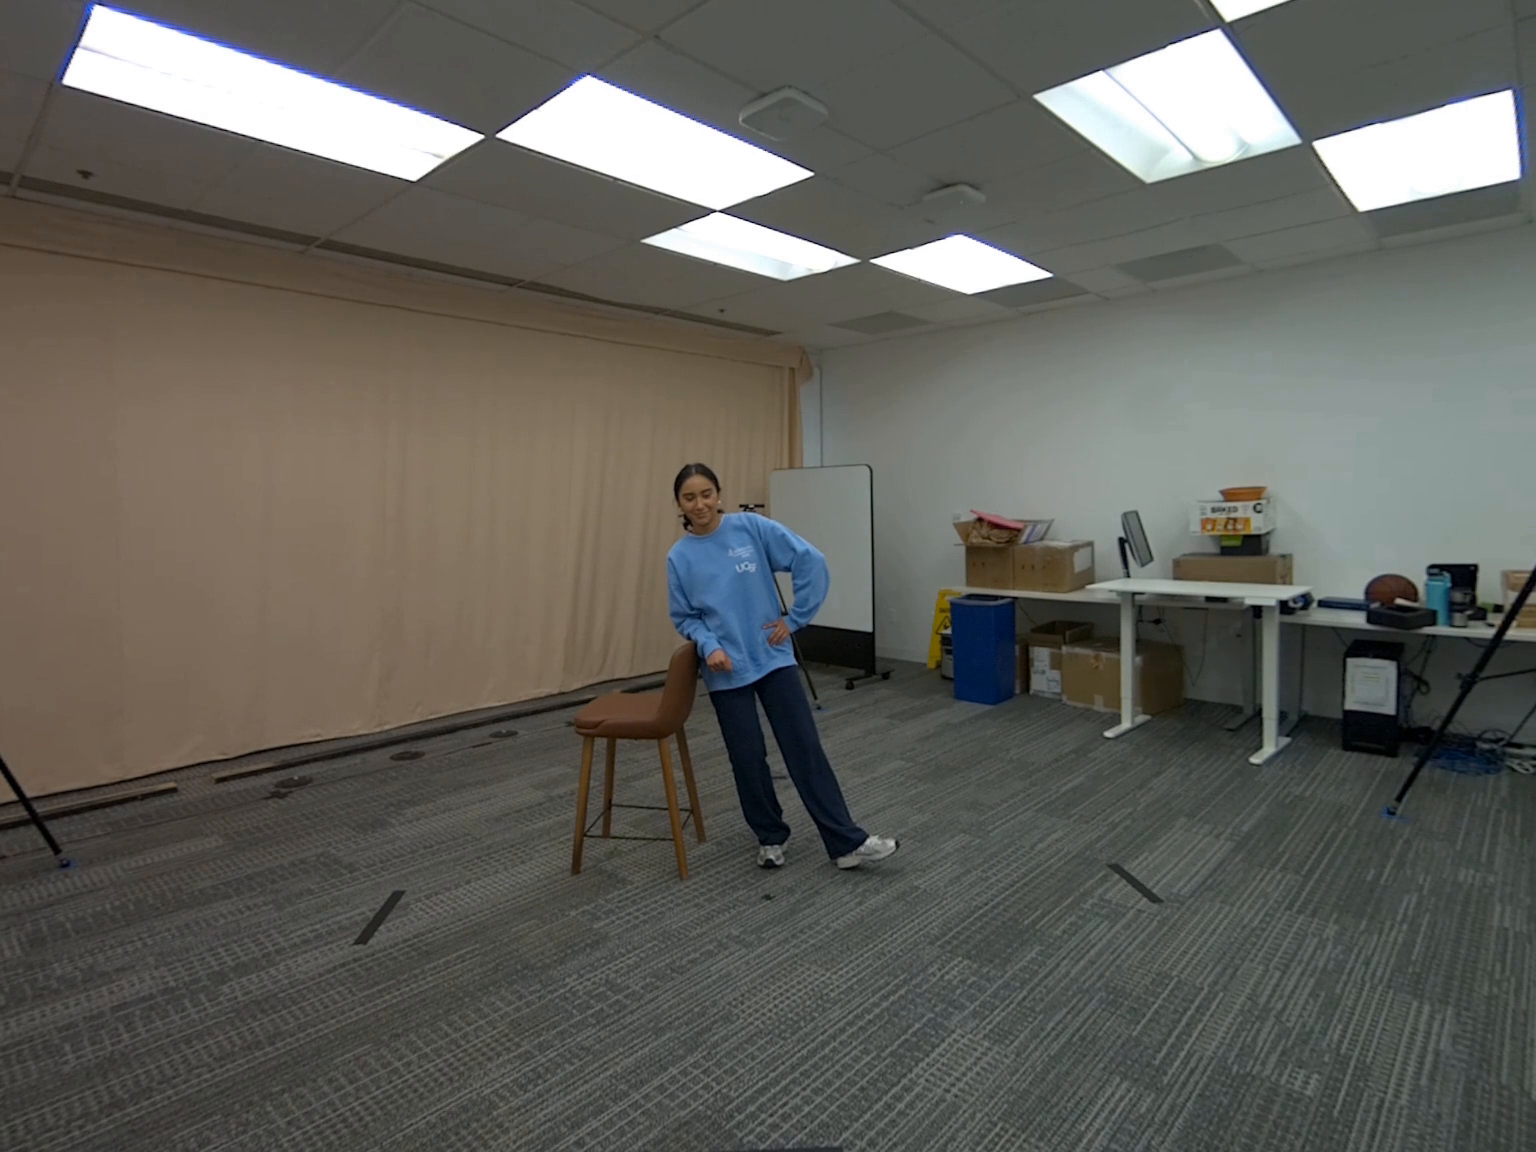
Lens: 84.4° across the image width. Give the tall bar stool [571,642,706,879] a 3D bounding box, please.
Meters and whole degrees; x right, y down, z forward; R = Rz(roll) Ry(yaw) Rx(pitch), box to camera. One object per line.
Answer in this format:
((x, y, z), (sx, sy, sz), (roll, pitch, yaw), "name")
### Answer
((-0.508, 0.687, 3.339), (0.473, 0.888, 0.452), (1, 4, 9), "tall bar stool")
